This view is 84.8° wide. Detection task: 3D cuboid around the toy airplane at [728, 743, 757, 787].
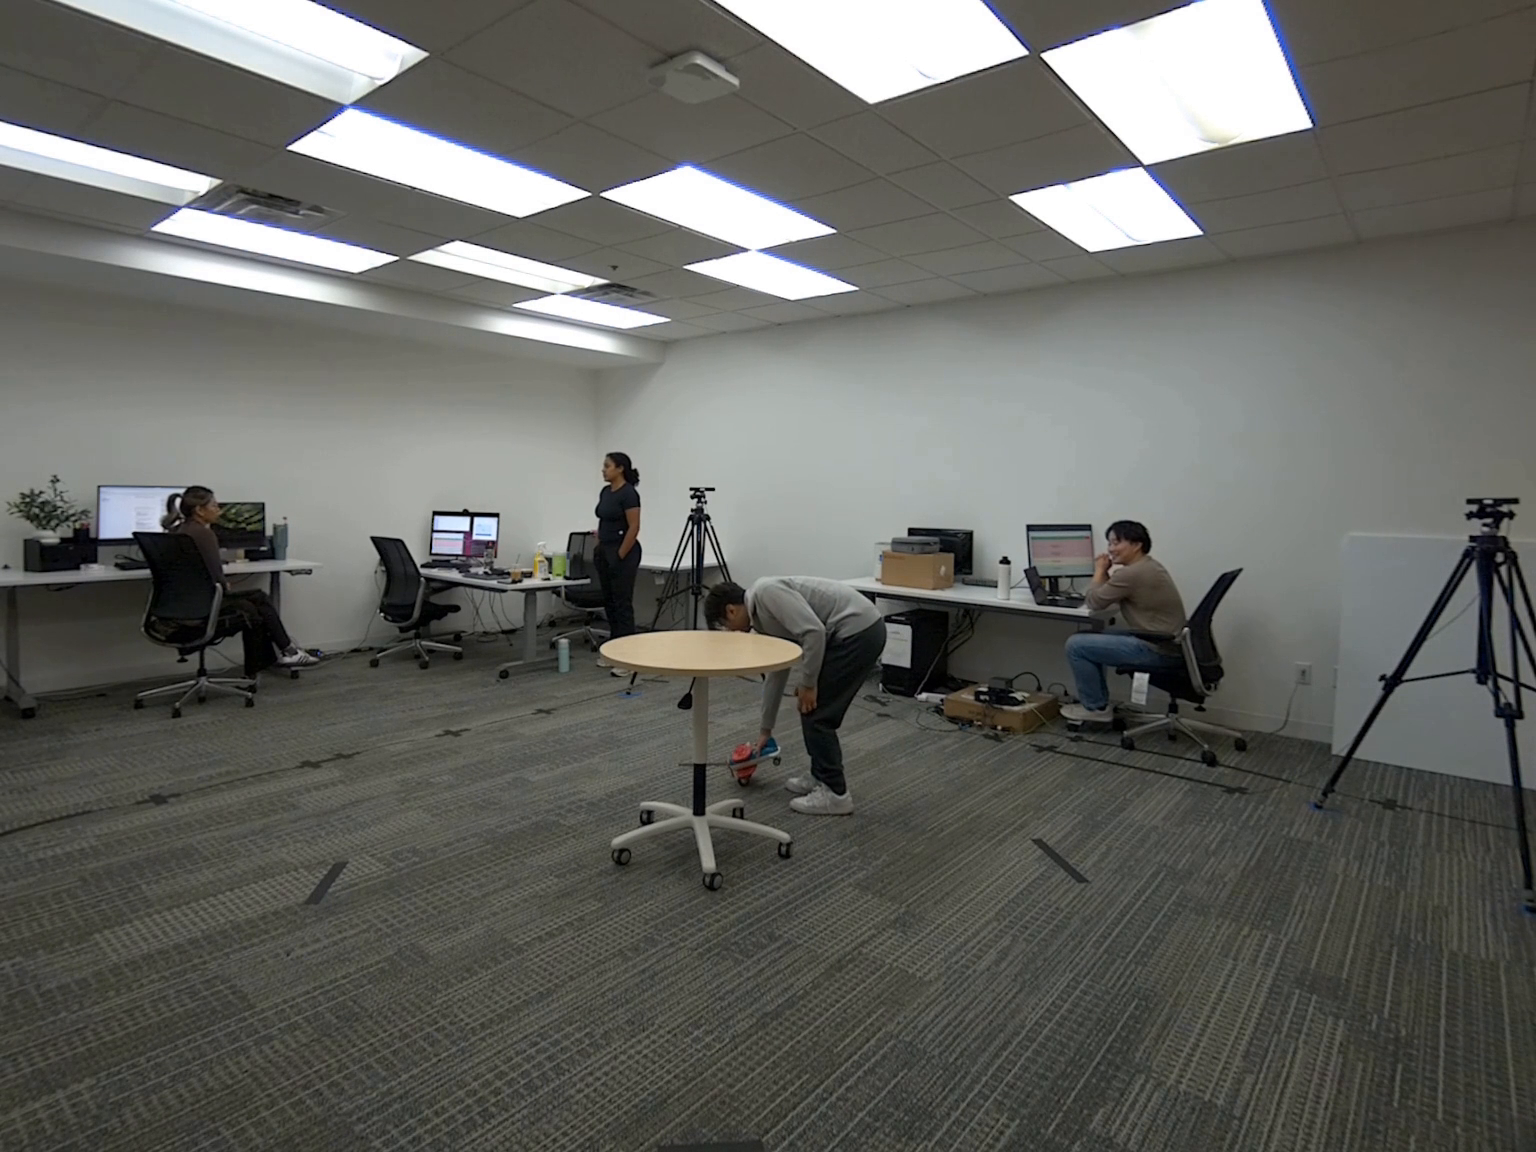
[{"bbox_3d":[-0.079,0.868,4.055,0.257,0.157,0.253,-33,1,-22],"label":"toy airplane"}]
